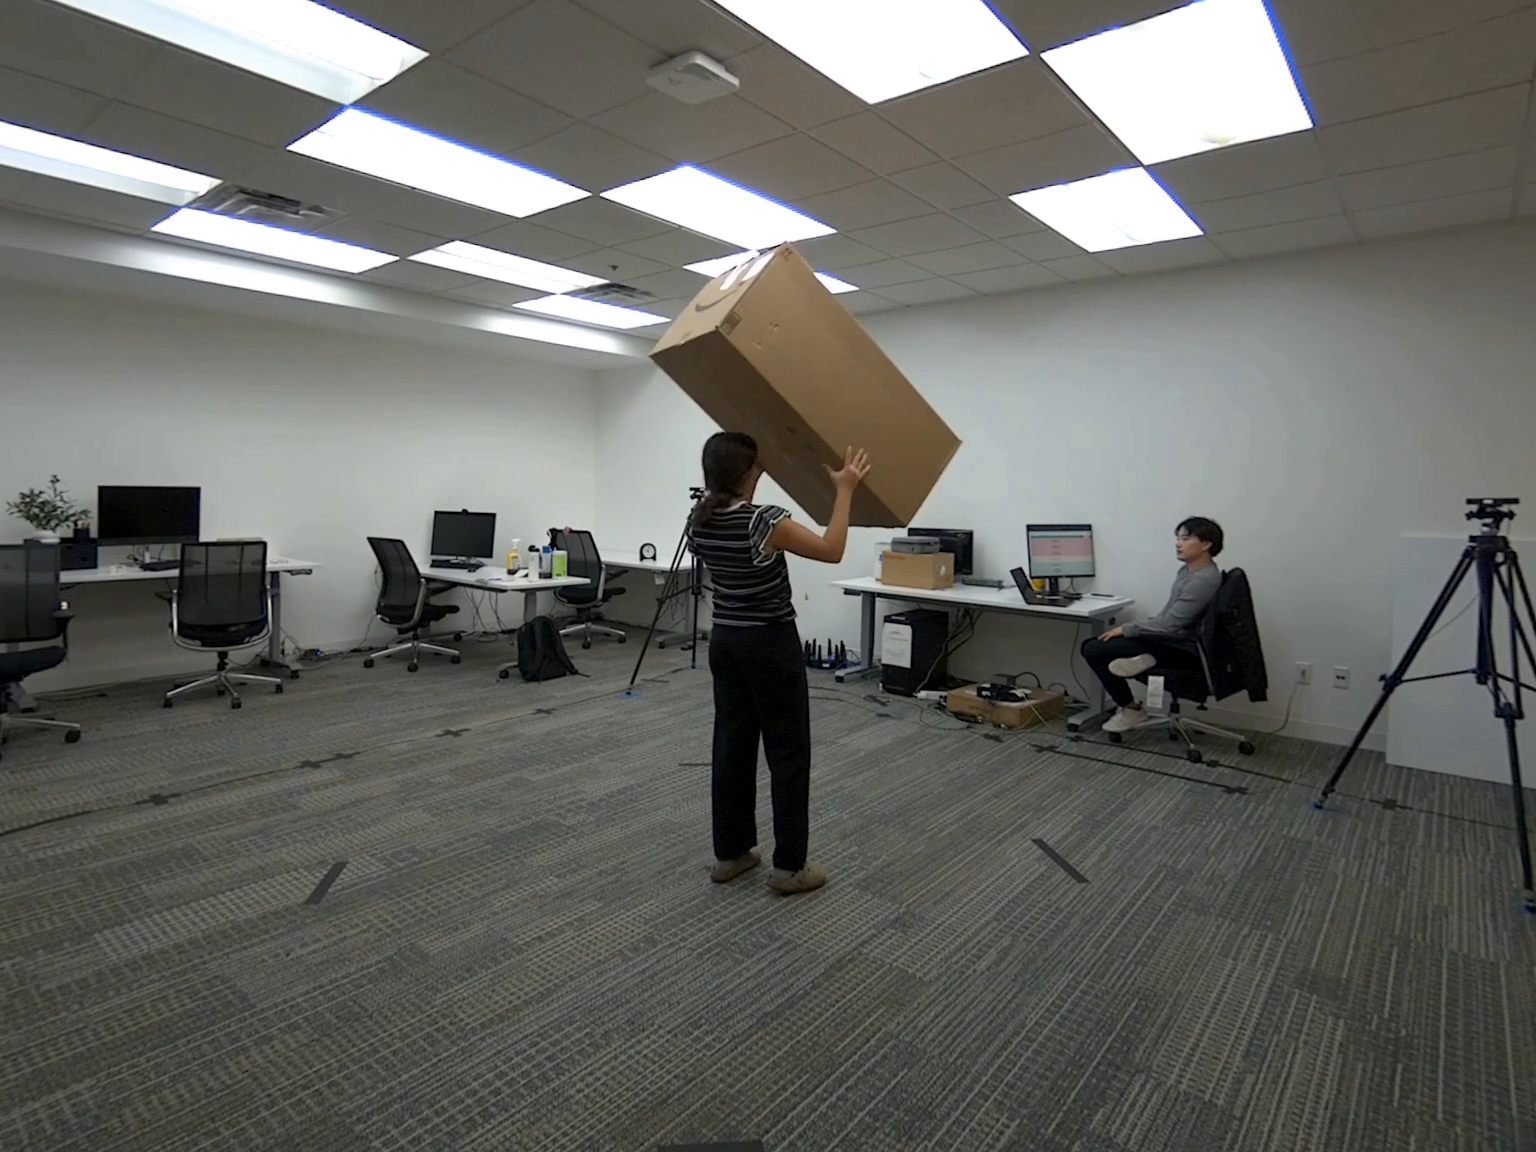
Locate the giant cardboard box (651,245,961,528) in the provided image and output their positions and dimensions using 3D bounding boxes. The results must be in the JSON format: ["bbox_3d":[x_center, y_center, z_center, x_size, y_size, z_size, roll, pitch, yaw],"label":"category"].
[{"bbox_3d":[0.128,-0.661,3.228,0.995,0.427,0.594,43,-18,-23],"label":"giant cardboard box"}]
